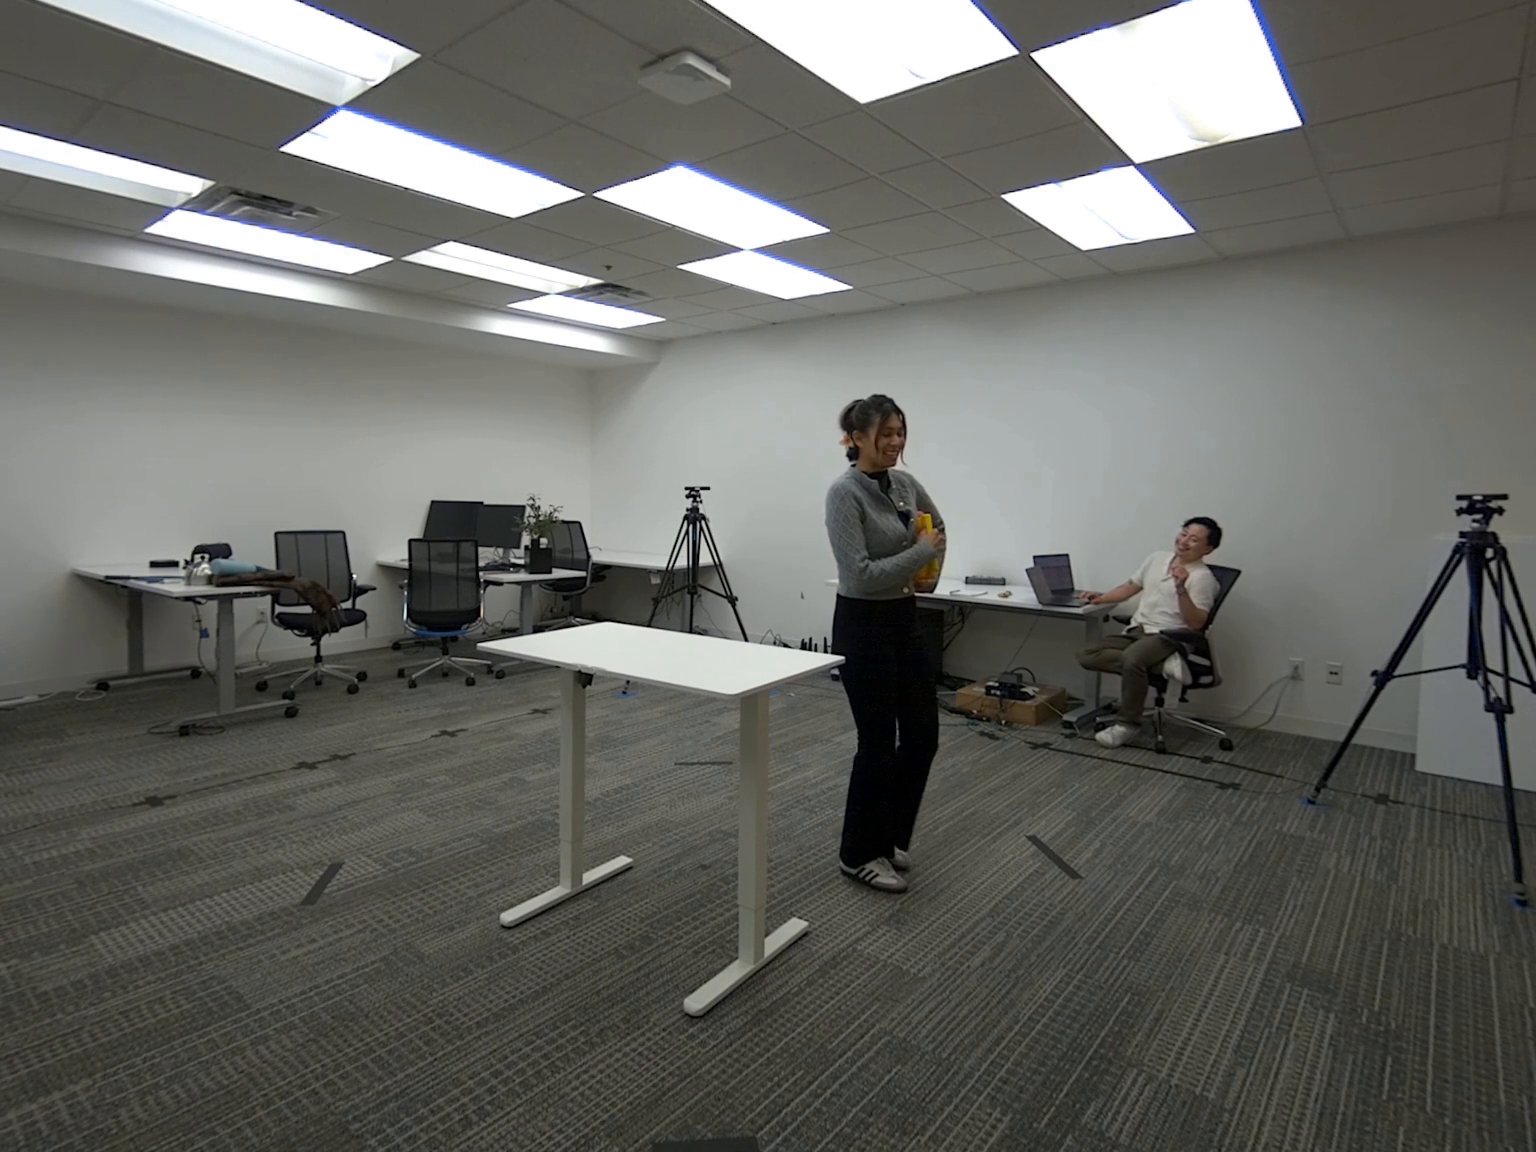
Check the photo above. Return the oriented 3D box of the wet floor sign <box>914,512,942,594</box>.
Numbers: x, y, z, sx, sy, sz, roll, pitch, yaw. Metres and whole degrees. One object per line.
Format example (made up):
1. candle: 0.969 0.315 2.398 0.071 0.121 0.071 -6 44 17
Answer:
1. wet floor sign: 0.499 -0.082 3.231 0.287 0.284 0.647 -4 -6 -11
